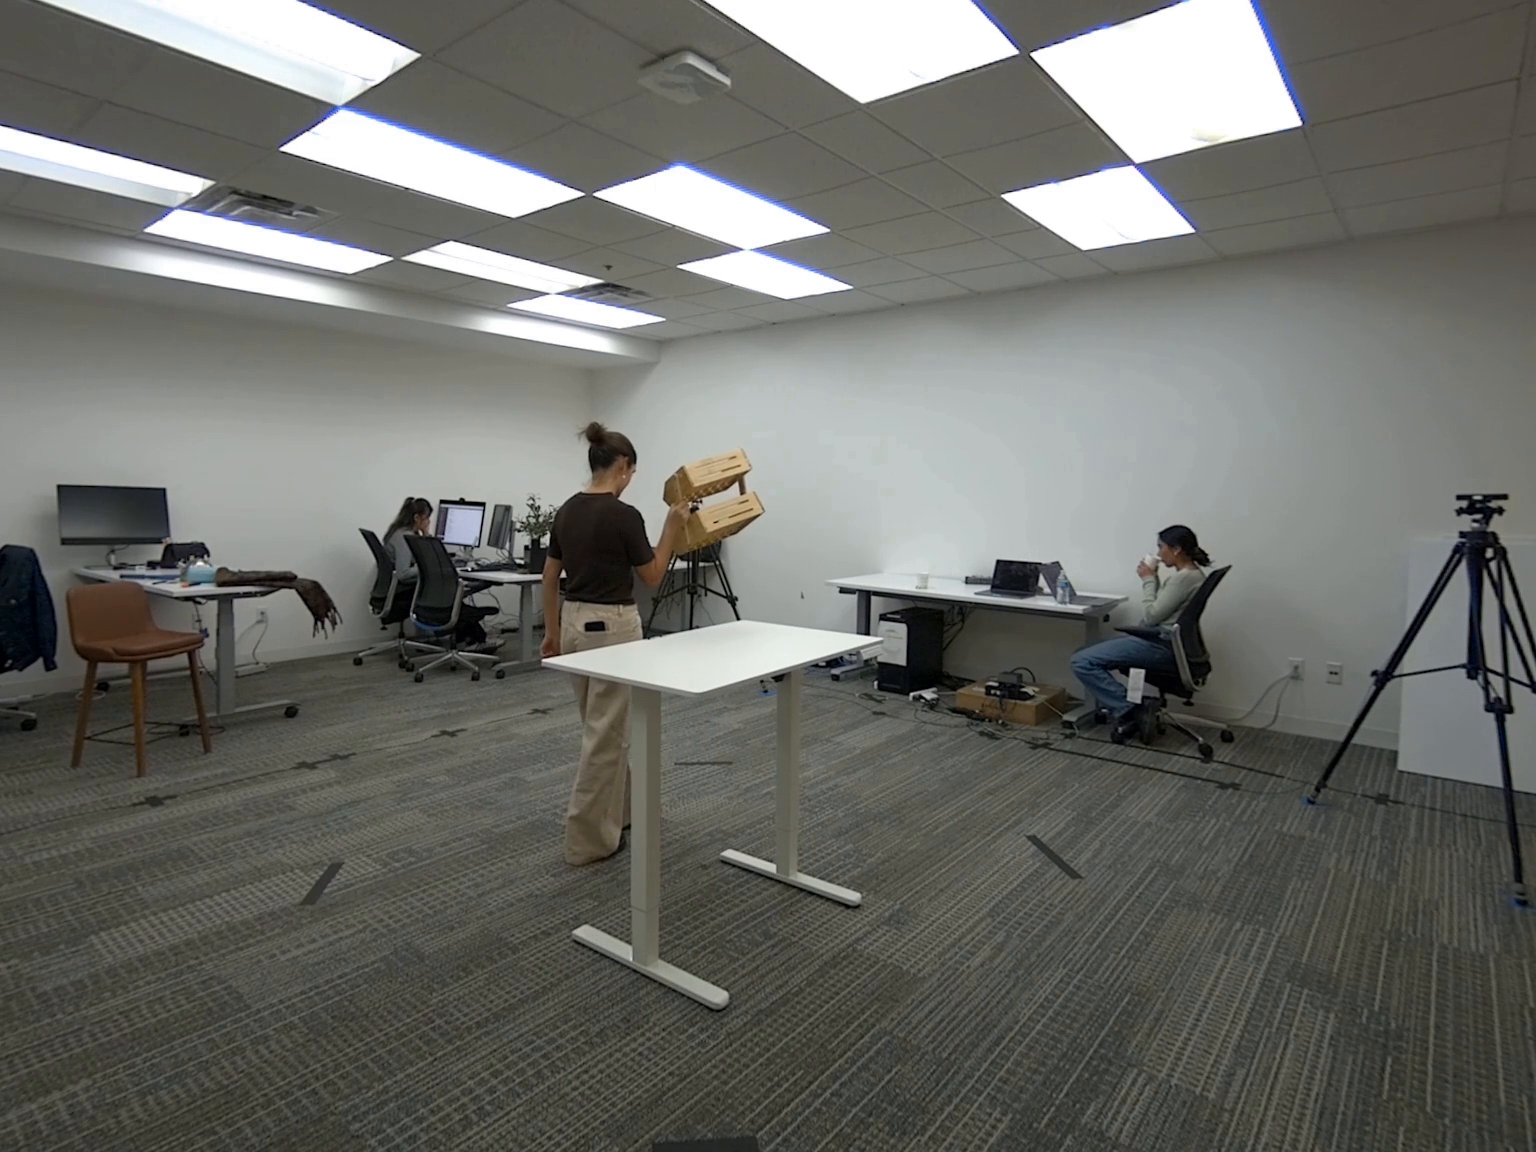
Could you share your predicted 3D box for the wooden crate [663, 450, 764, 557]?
[{"bbox_3d":[-0.242,-0.292,3.310,0.318,0.276,0.304,-22,-9,-38],"label":"wooden crate"}]
